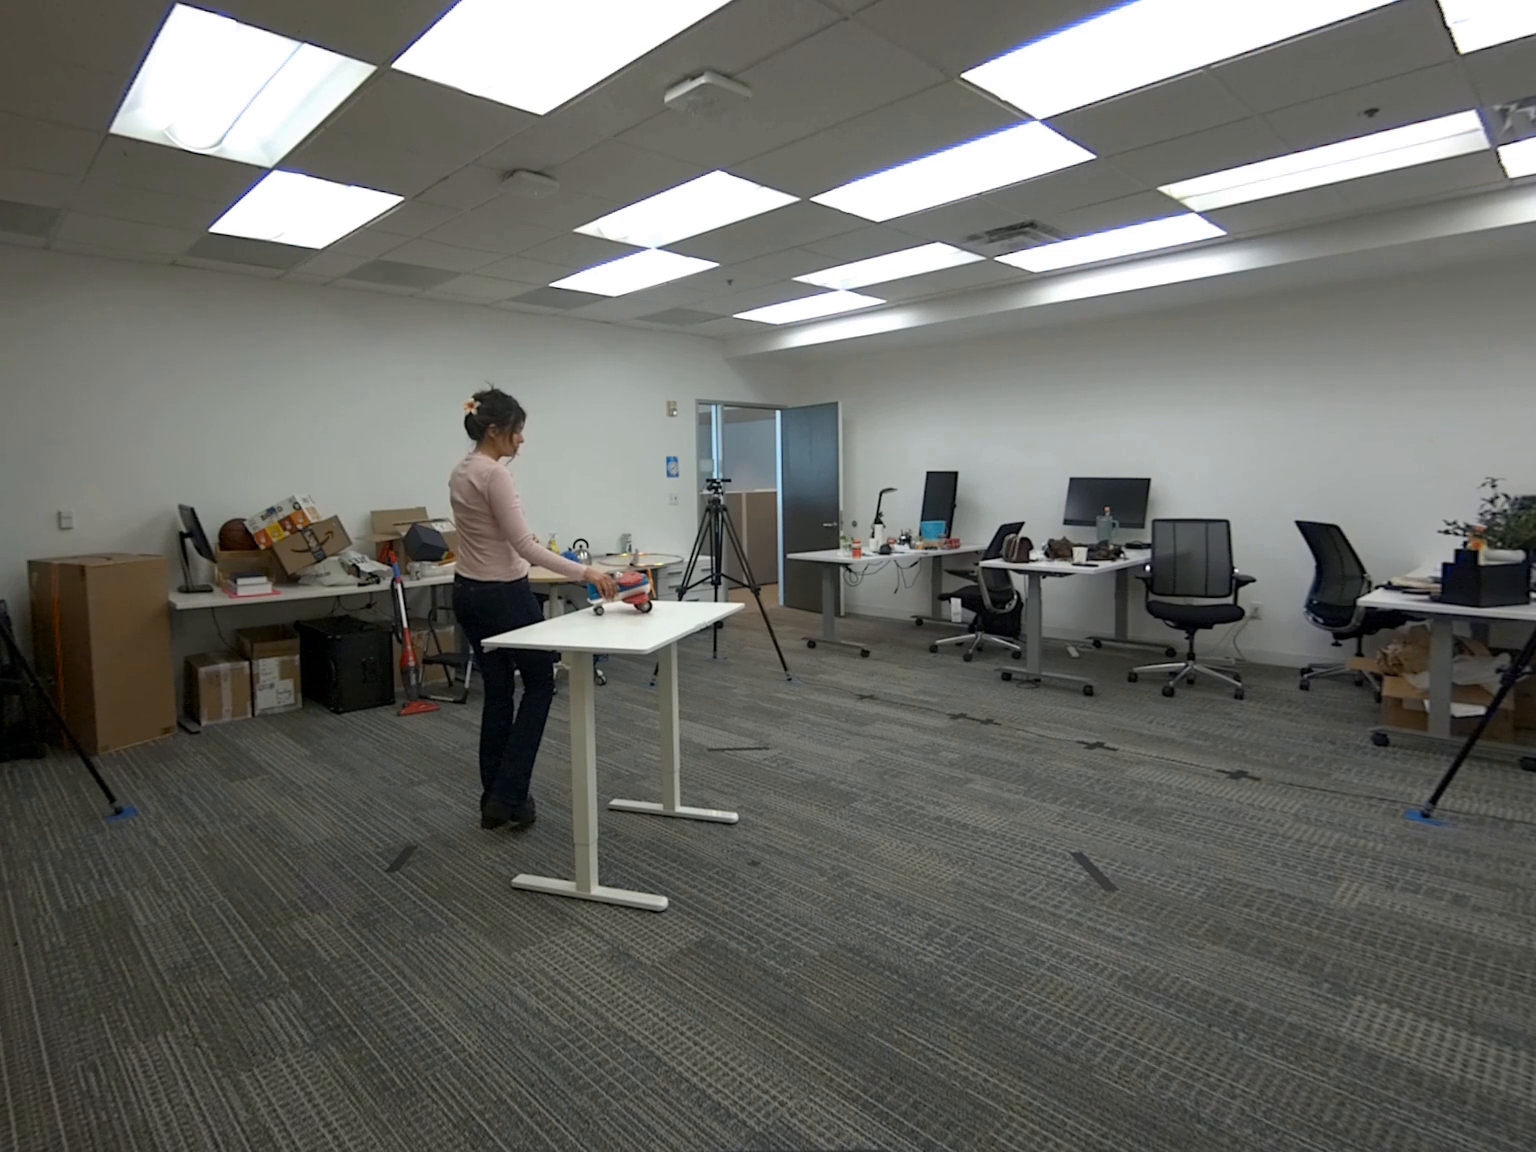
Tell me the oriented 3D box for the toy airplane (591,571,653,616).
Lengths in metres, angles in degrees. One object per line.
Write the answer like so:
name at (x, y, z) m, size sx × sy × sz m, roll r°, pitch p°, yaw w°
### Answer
toy airplane at (-0.565, 0.069, 3.338) m, size 0.258 × 0.156 × 0.252 m, roll 1°, pitch 5°, yaw 43°
